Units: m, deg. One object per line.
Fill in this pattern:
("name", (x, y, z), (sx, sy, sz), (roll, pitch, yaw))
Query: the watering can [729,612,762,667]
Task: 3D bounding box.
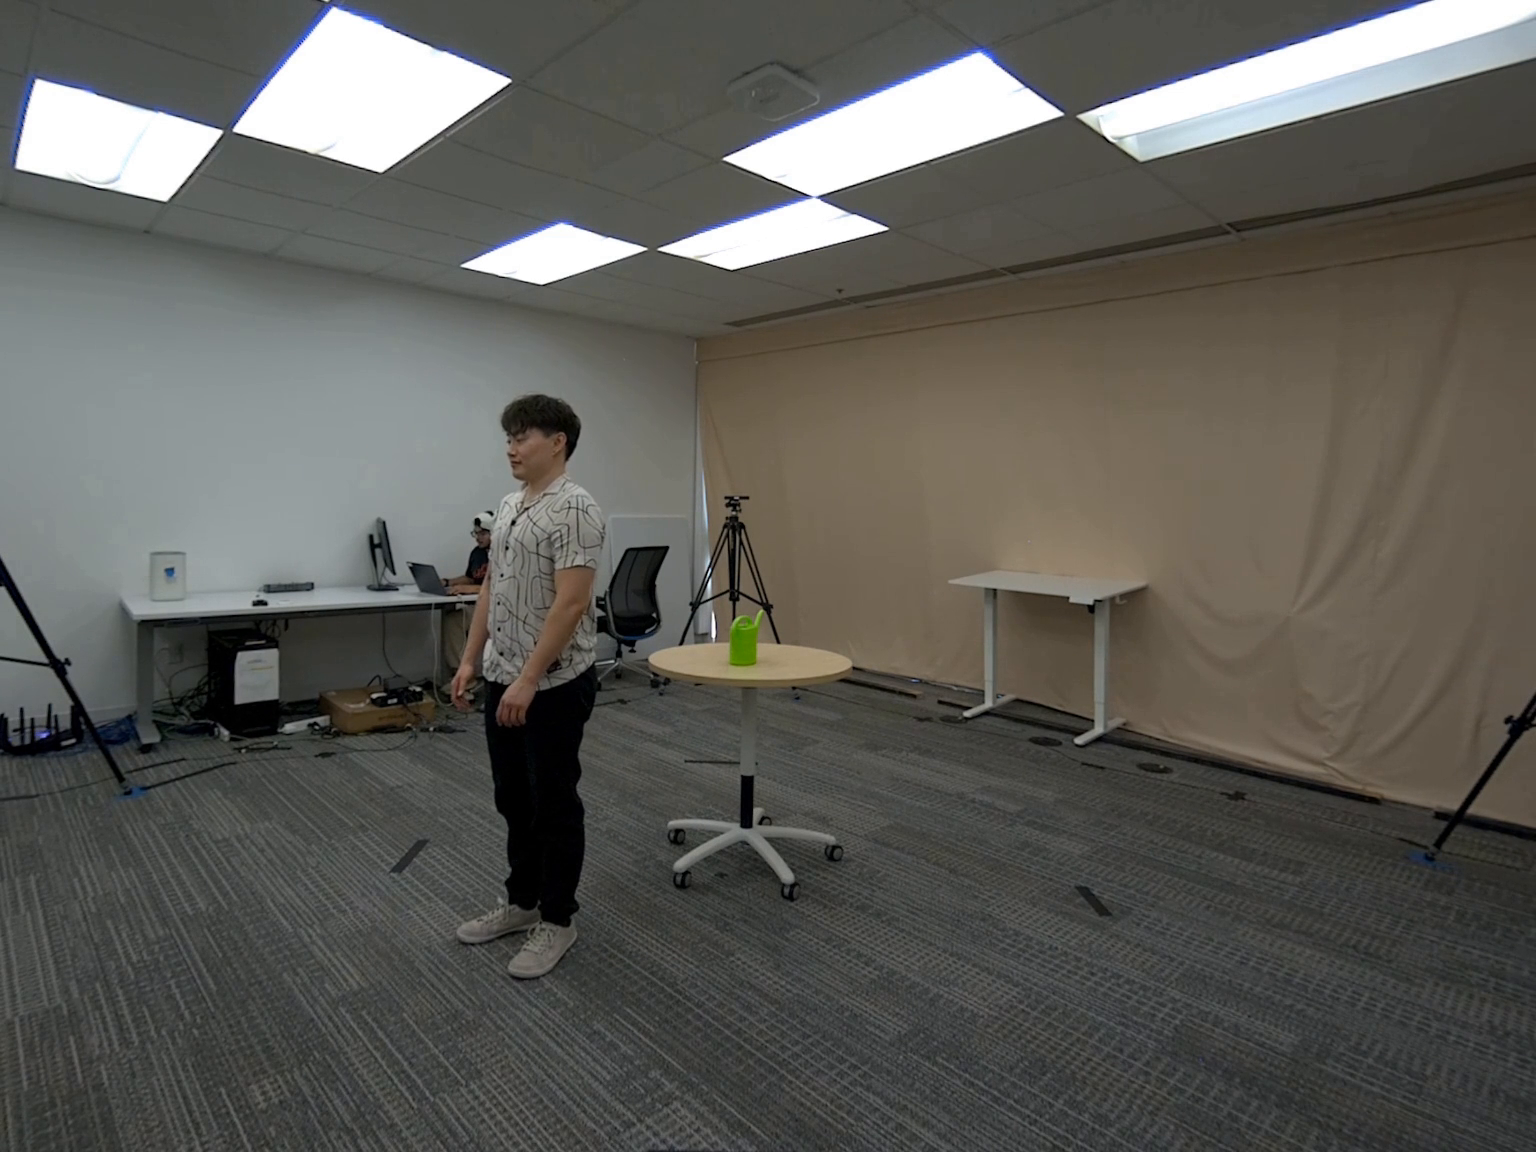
("watering can", (-0.074, 0.231, 3.127), (0.100, 0.176, 0.273), (4, 6, 33))
